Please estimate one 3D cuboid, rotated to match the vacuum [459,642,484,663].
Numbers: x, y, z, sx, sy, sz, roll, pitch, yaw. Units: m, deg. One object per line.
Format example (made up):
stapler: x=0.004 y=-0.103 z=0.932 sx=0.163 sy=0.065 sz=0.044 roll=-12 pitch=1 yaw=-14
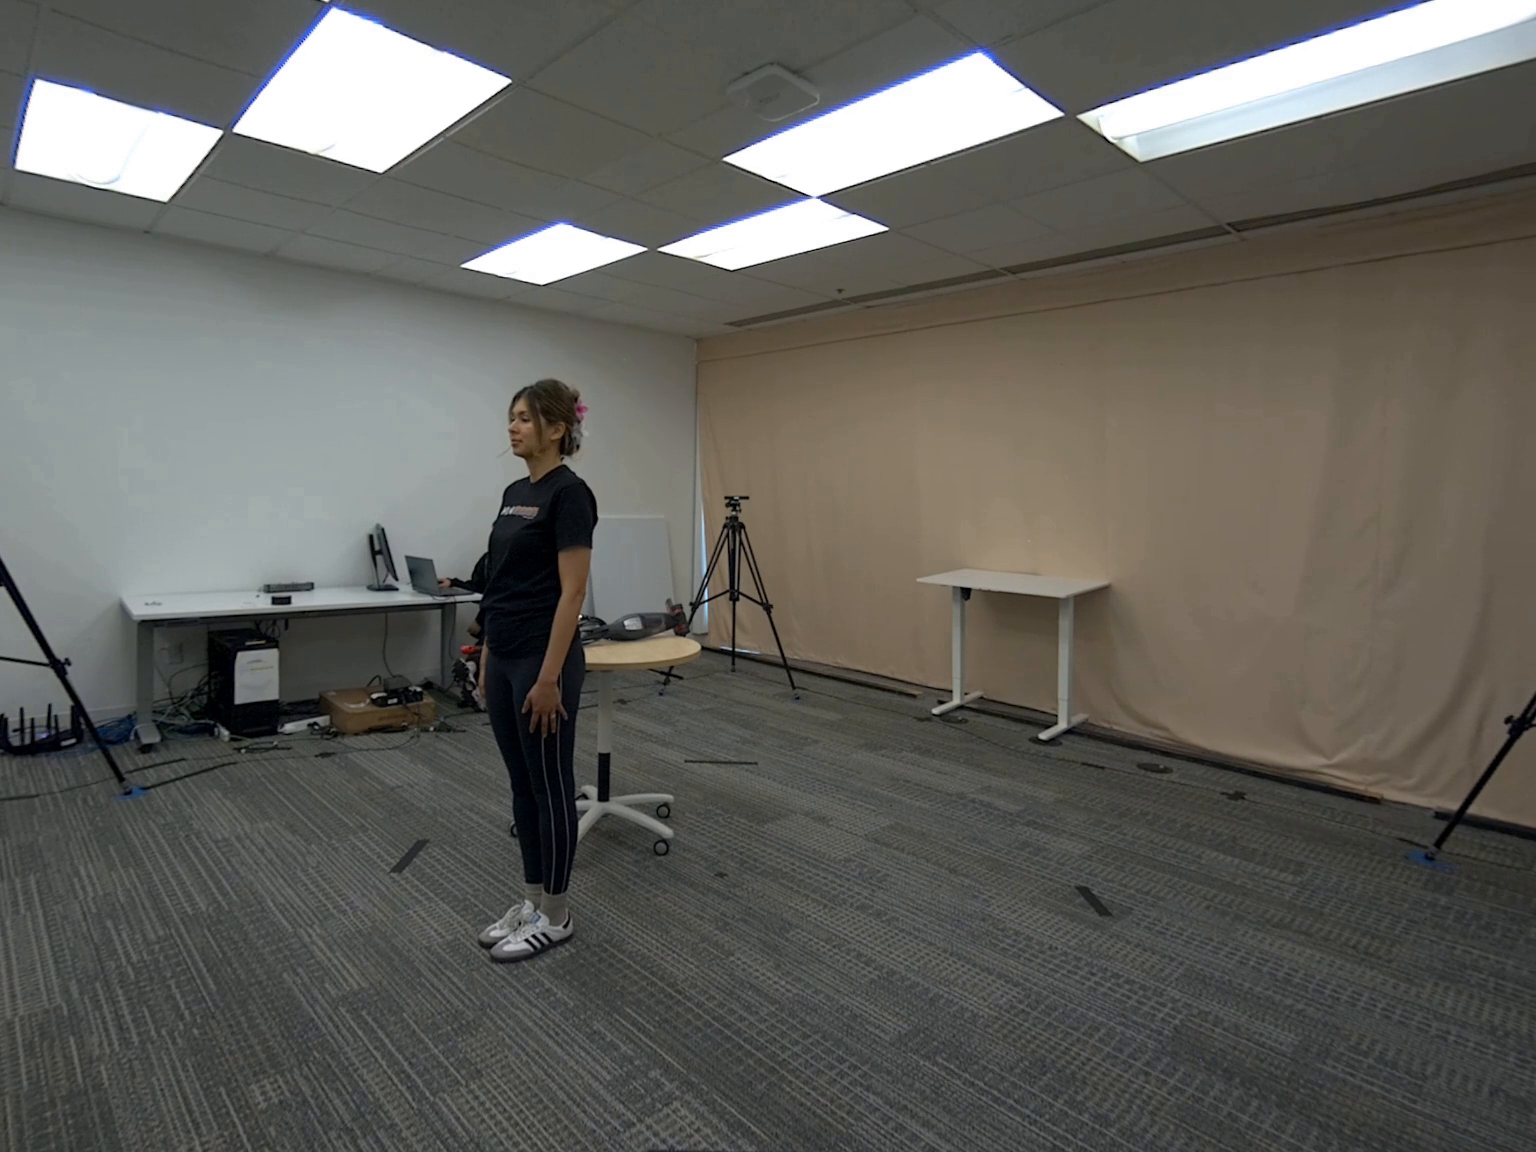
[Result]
vacuum: x=-0.726 y=0.244 z=3.391 sx=1.026 sy=0.256 sz=0.145 roll=-5 pitch=-21 yaw=-48
